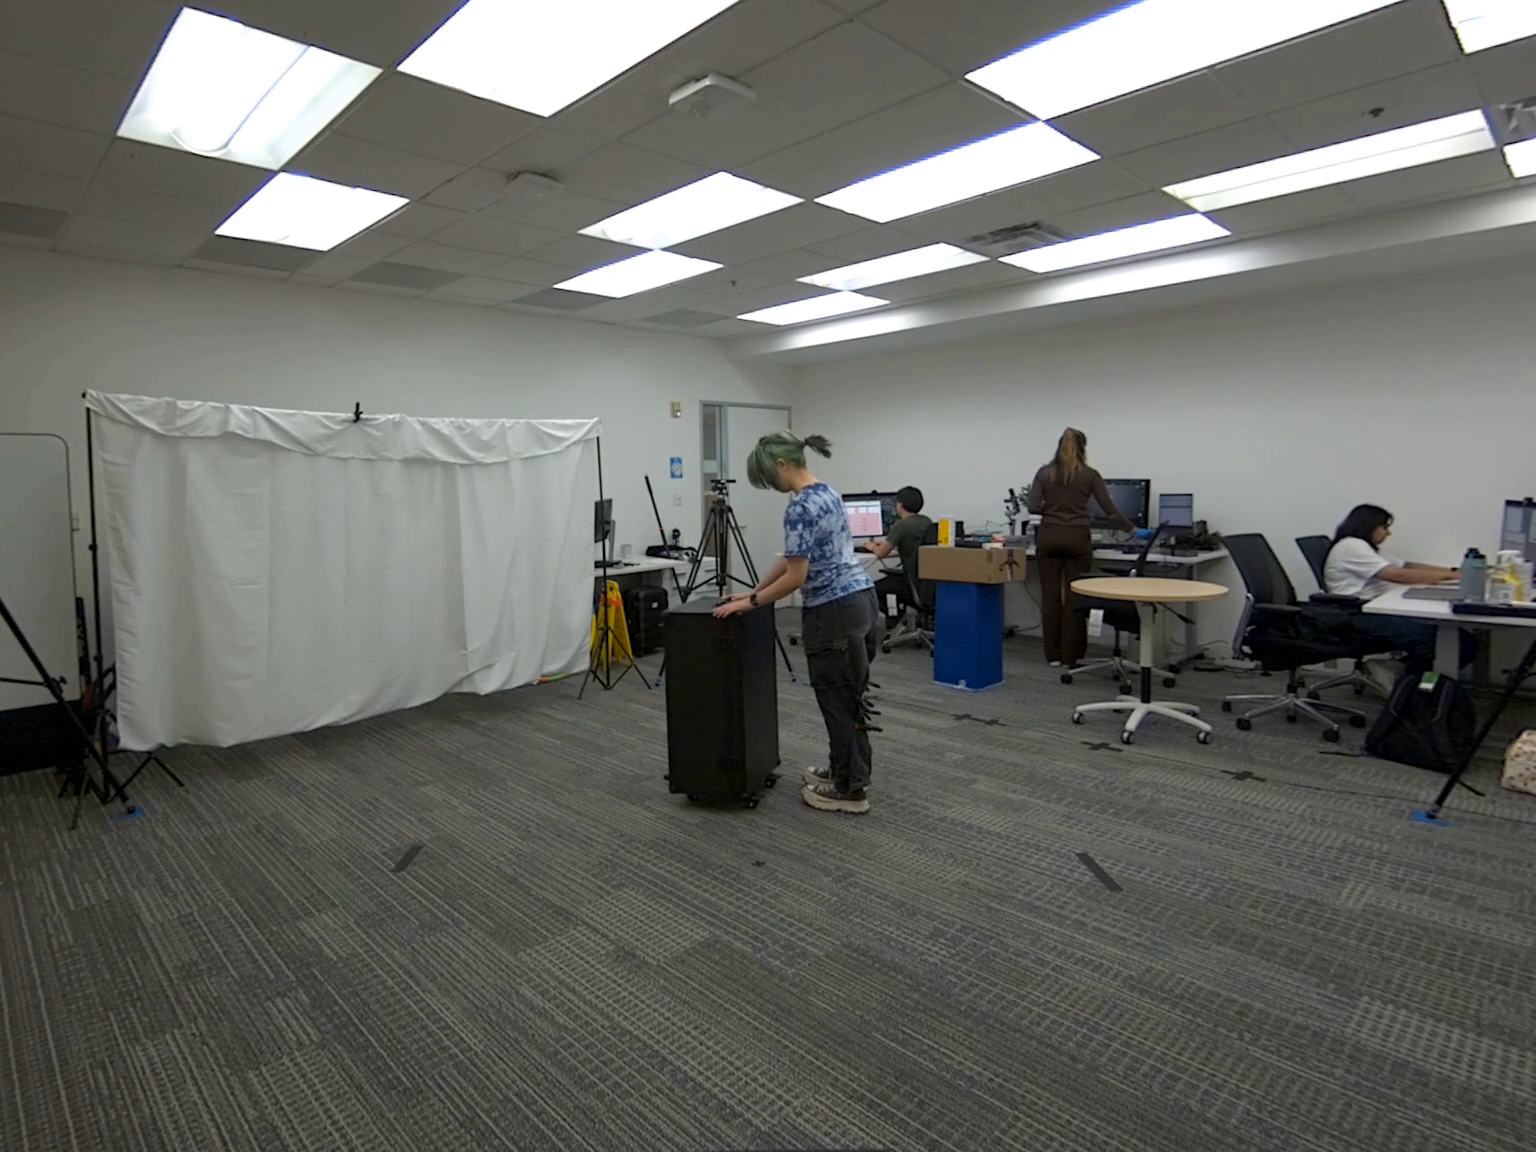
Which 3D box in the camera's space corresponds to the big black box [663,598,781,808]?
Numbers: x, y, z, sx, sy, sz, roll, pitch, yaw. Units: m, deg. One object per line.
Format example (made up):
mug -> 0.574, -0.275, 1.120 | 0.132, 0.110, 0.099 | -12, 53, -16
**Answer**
big black box -> -0.205, 0.552, 3.794 | 0.403, 0.859, 0.514 | -2, 3, 18
